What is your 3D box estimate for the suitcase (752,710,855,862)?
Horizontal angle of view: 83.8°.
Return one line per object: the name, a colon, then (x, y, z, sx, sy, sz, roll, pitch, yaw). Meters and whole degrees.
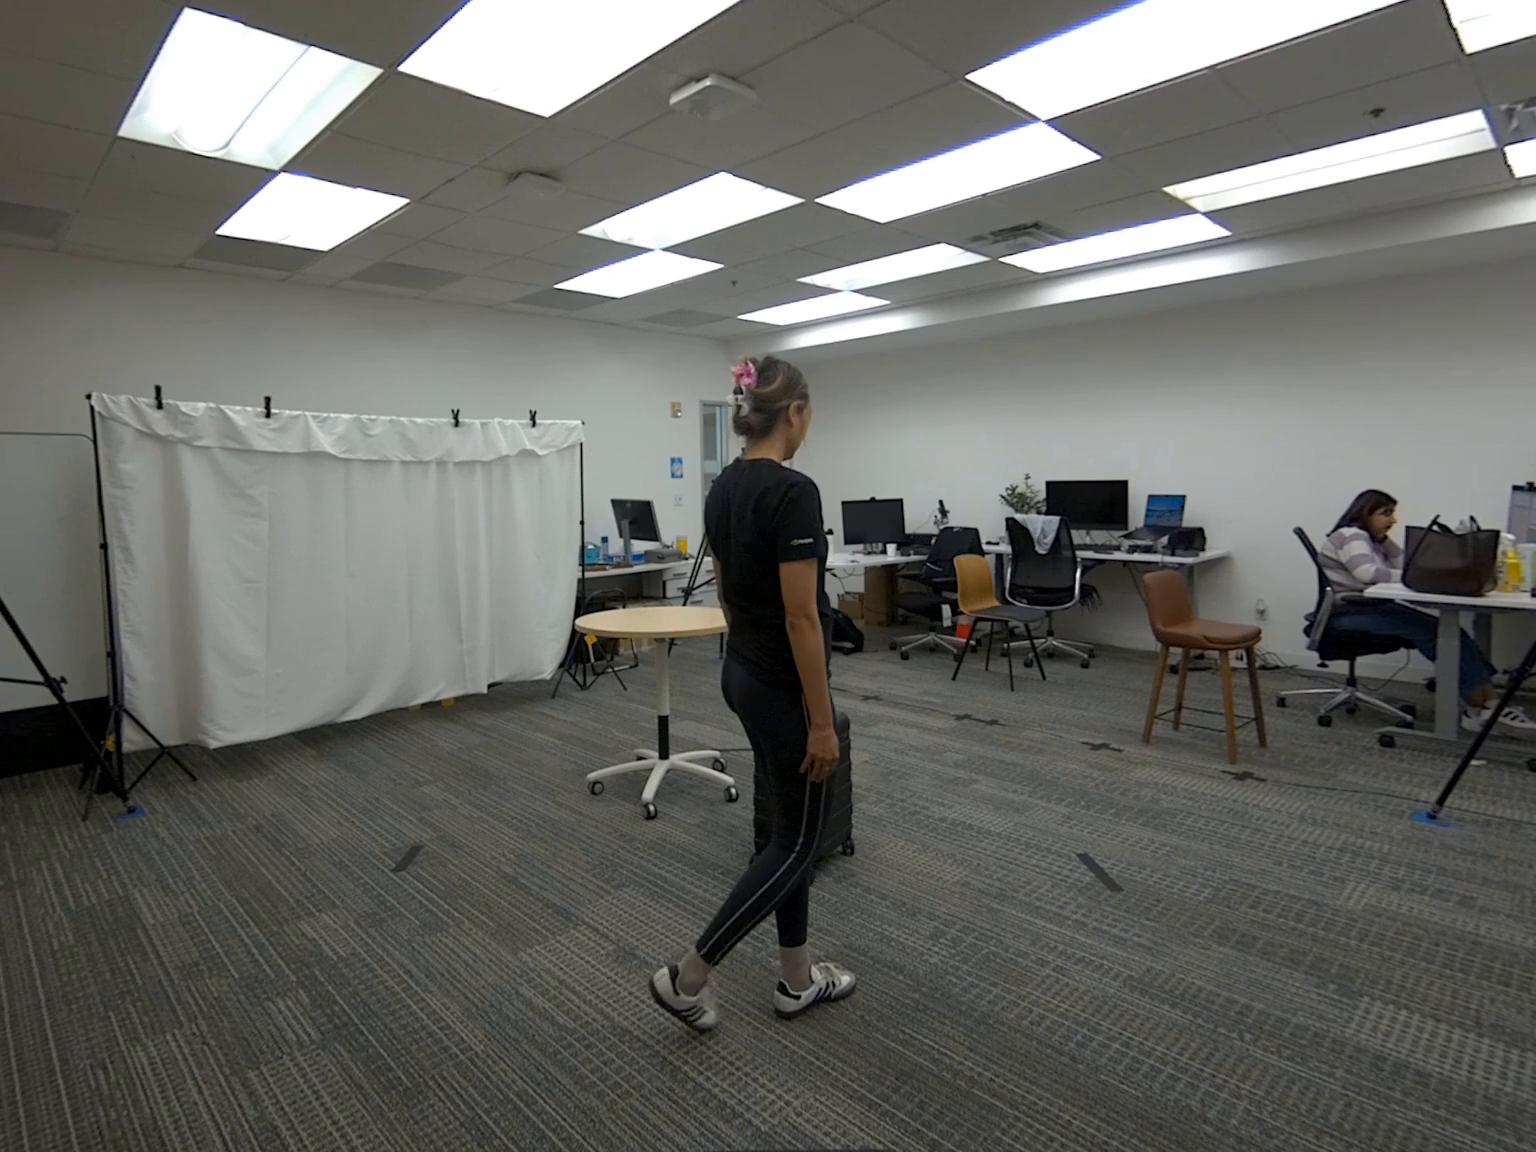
suitcase: (0.141, 0.567, 3.118, 0.264, 0.975, 0.374, 3, 4, 33)
